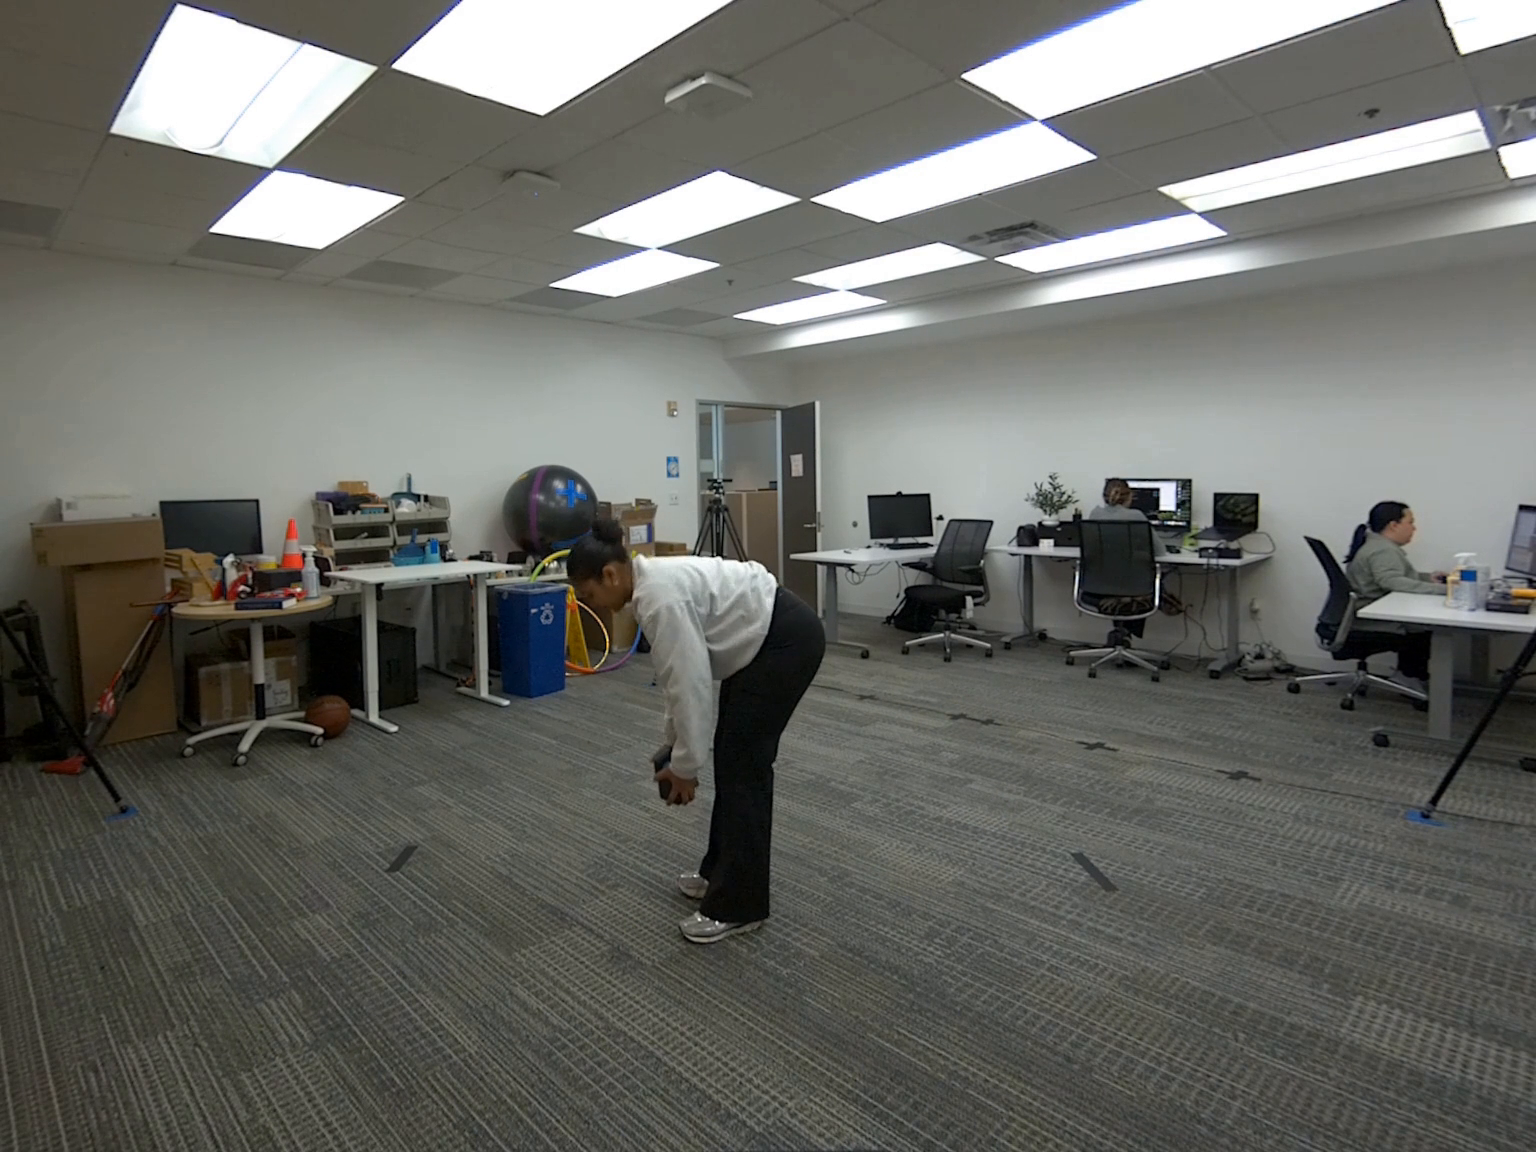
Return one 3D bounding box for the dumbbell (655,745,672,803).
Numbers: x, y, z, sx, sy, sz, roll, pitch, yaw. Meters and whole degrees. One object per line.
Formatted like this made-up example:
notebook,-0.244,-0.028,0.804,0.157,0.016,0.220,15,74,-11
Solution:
dumbbell,-0.264,0.655,2.720,0.108,0.123,0.293,-6,-1,-3
